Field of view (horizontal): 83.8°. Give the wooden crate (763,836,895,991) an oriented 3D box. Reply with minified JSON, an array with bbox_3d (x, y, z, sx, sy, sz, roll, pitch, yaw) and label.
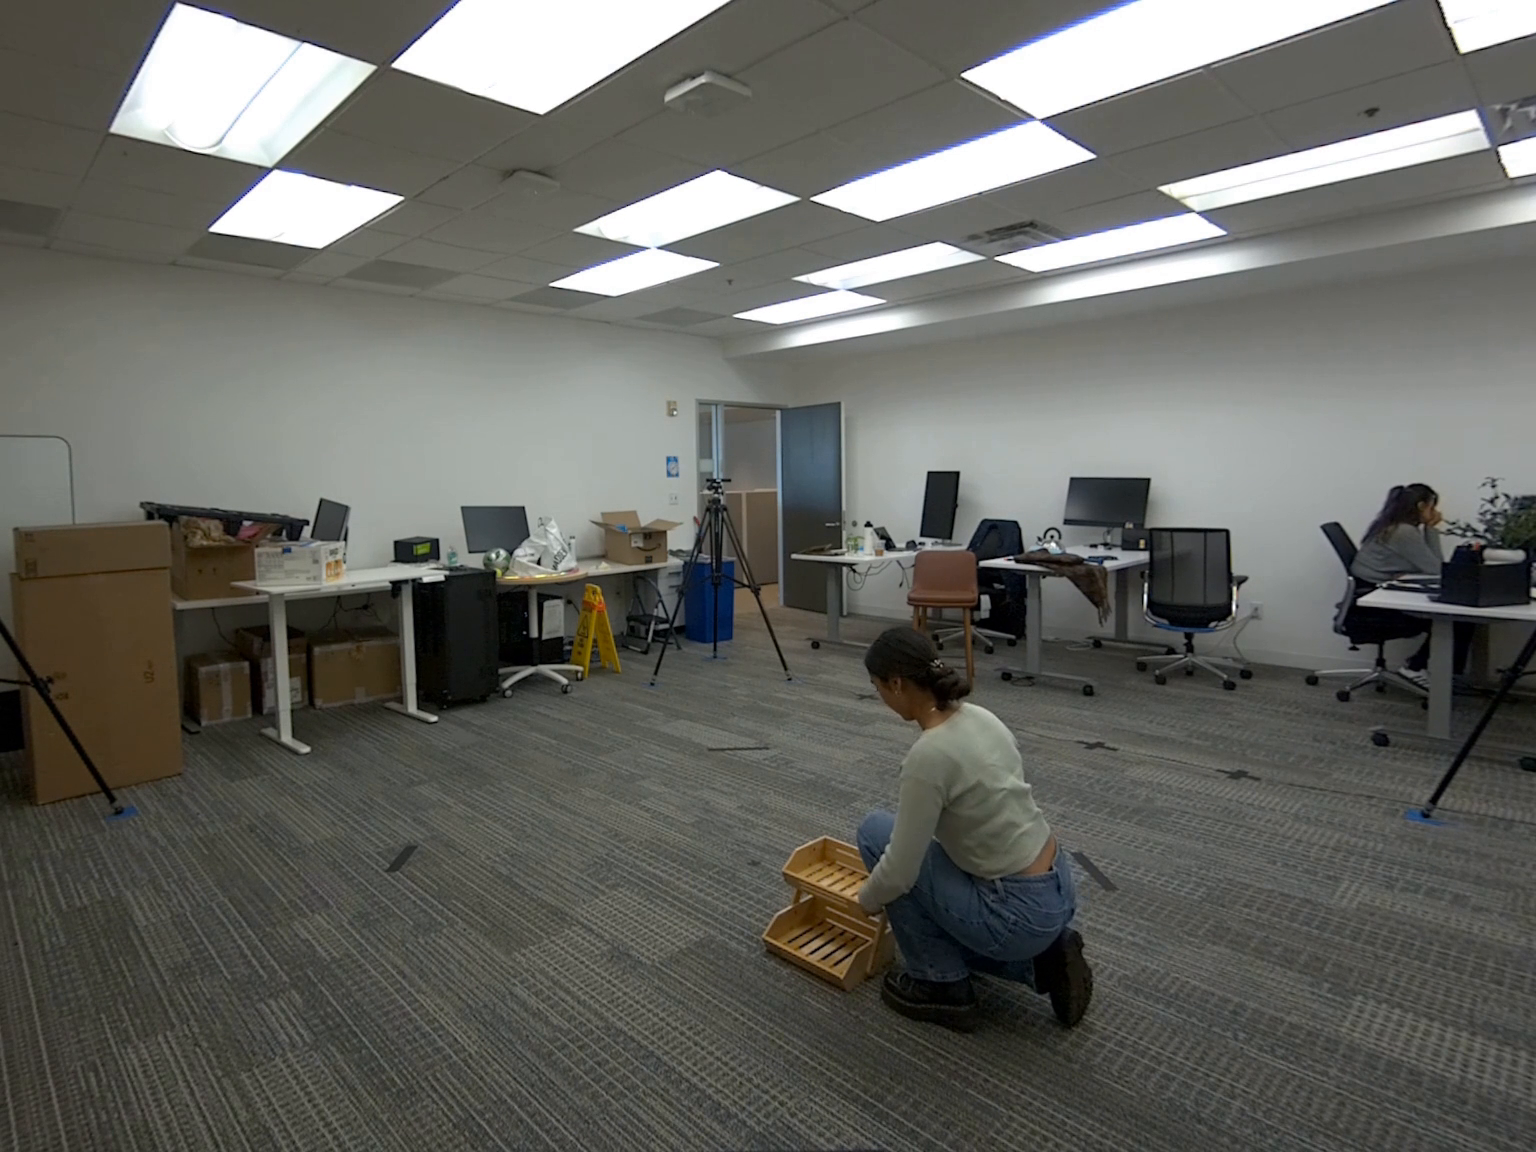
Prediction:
[{"bbox_3d":[0.197,0.976,2.509,0.334,0.272,0.294,4,6,44],"label":"wooden crate"}]
